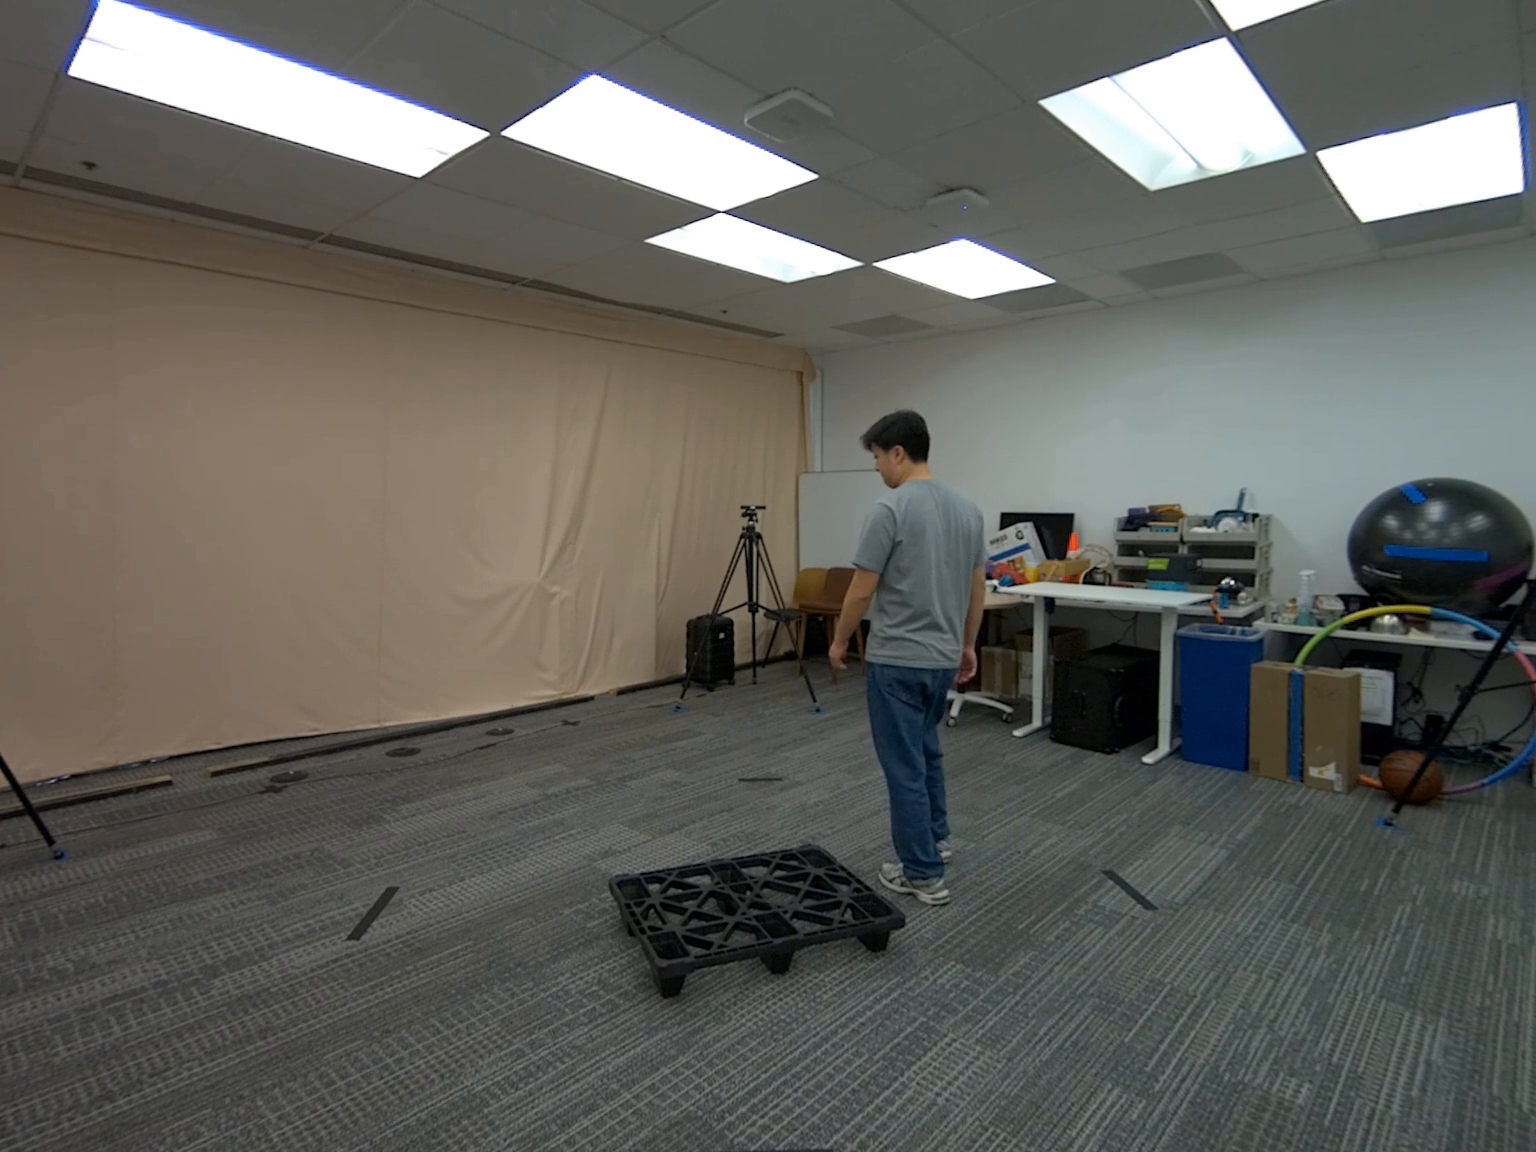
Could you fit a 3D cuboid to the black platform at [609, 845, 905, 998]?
[{"bbox_3d":[-0.060,1.098,2.723,0.788,0.143,0.620,-2,5,-22],"label":"black platform"}]
